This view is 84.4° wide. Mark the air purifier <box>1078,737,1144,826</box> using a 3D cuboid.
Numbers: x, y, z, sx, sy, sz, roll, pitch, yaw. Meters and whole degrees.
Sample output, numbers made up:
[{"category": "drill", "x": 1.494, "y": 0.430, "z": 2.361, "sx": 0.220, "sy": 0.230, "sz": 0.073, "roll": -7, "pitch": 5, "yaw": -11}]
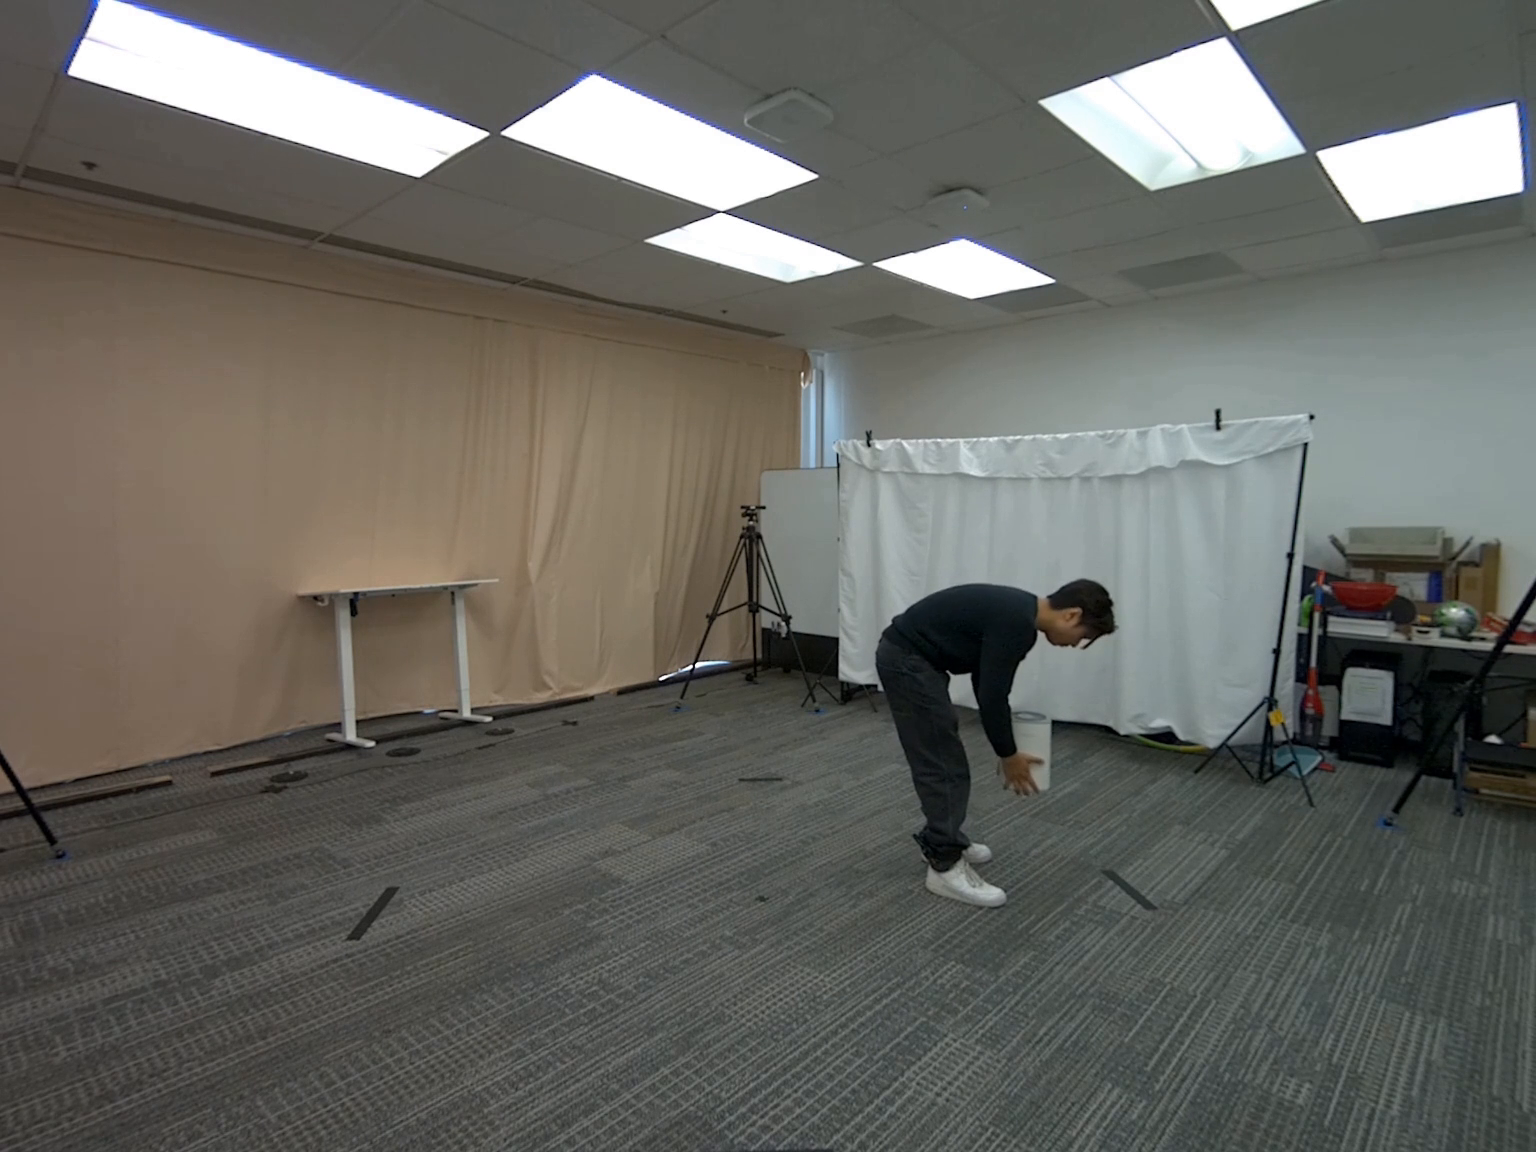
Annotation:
[{"category": "air purifier", "x": 1.277, "y": 0.763, "z": 3.168, "sx": 0.173, "sy": 0.264, "sz": 0.171, "roll": 0, "pitch": 9, "yaw": 8}]
